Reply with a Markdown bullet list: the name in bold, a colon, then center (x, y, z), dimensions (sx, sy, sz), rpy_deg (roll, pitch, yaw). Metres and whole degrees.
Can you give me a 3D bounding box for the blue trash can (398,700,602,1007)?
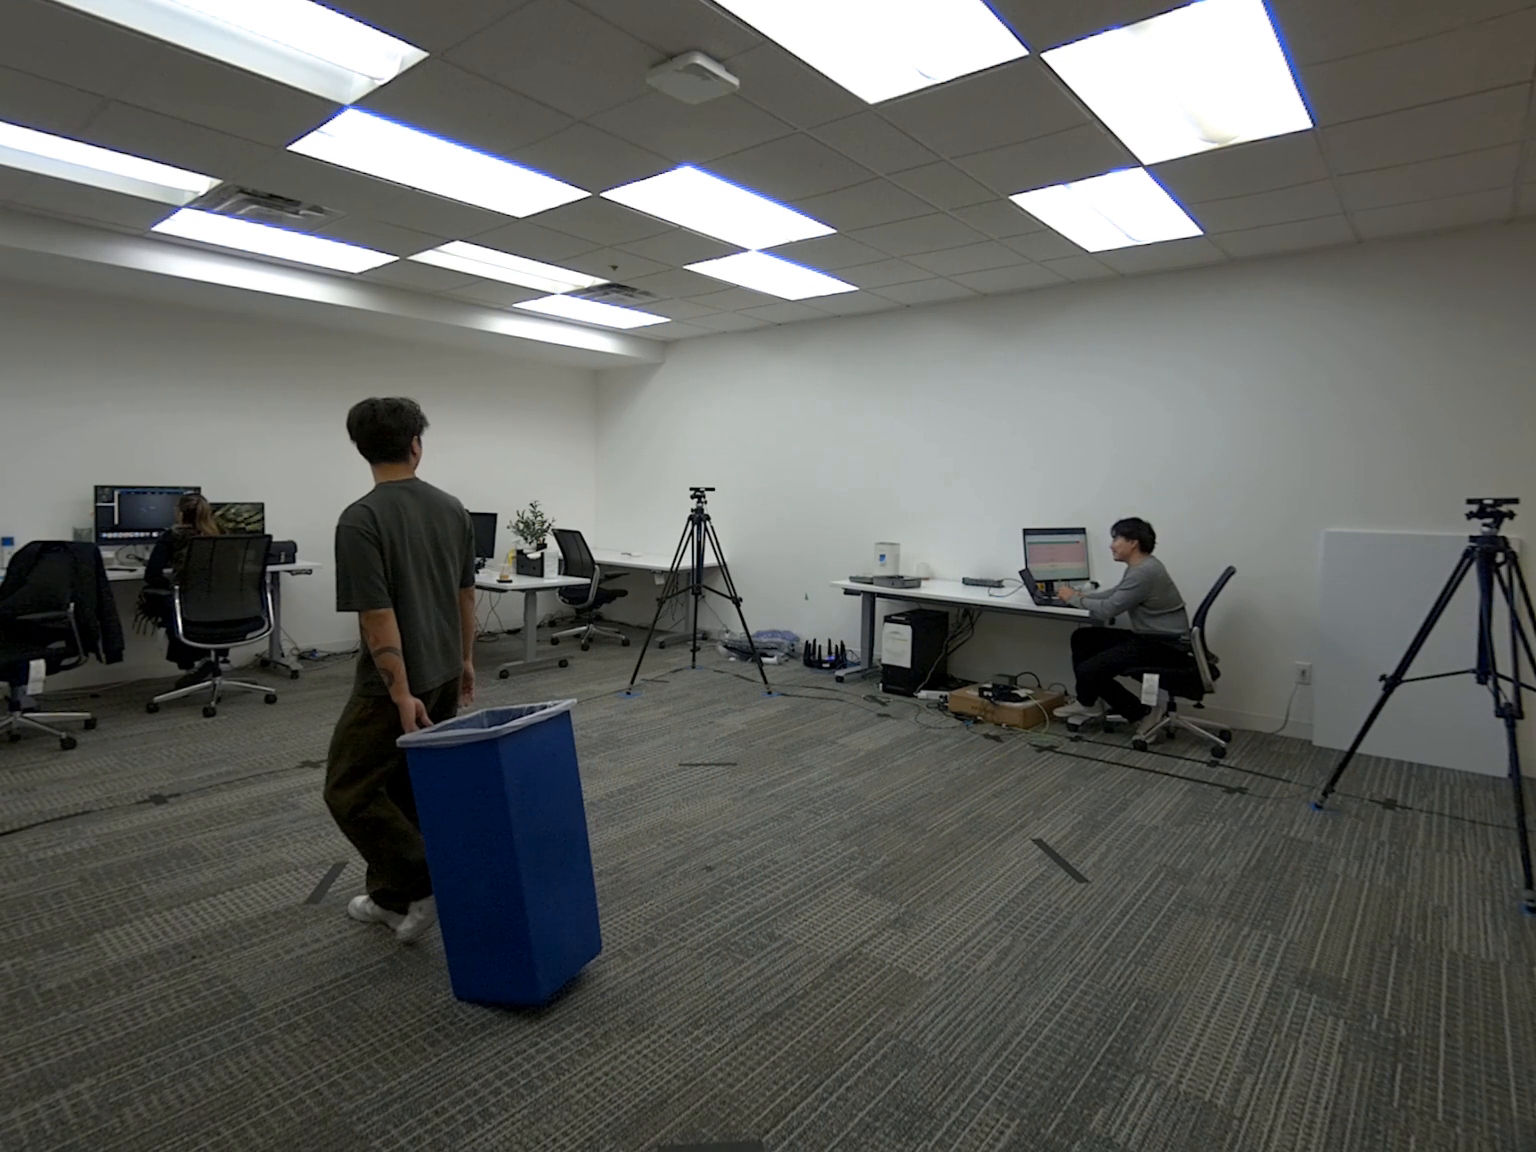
- **blue trash can**: center (-0.736, 0.751, 2.367), dimensions (0.385, 0.716, 0.365), rpy_deg (-11, -3, 24)
